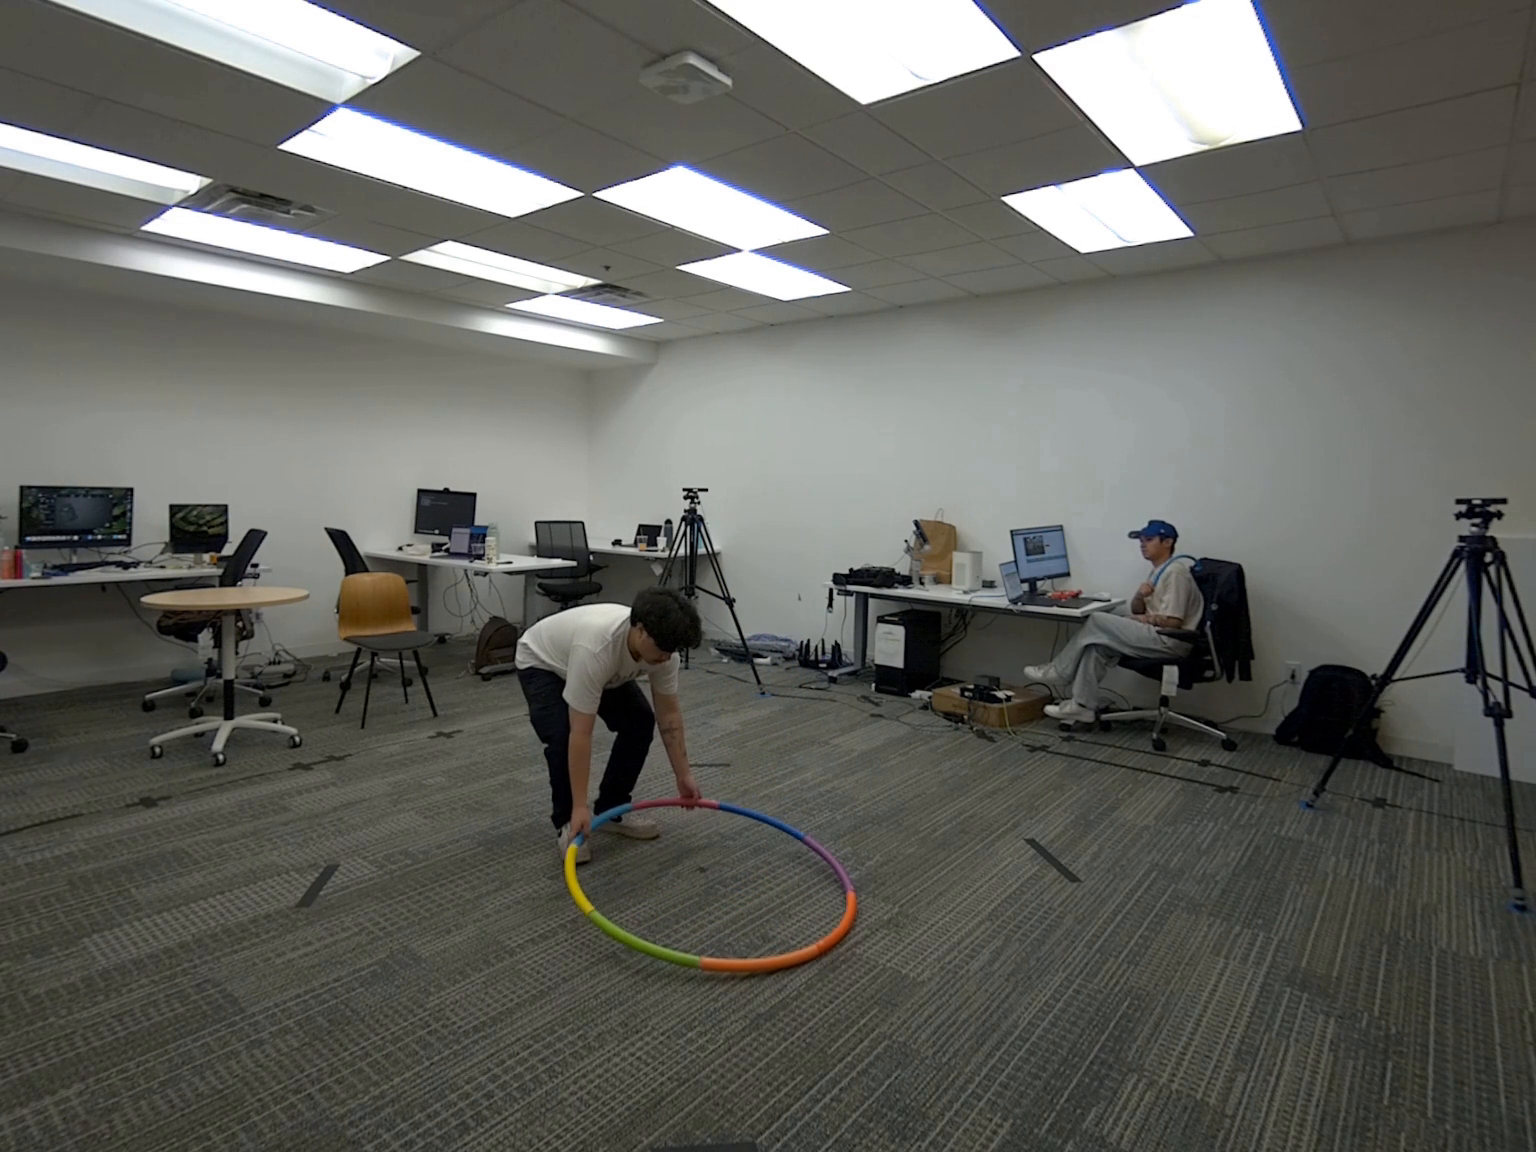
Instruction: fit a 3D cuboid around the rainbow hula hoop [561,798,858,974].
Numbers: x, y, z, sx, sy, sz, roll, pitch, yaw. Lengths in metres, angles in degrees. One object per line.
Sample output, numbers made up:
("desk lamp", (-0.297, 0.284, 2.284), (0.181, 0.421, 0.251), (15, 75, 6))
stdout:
("rainbow hula hoop", (-0.204, 0.991, 2.881), (0.983, 0.051, 0.996), (8, 11, -3))
